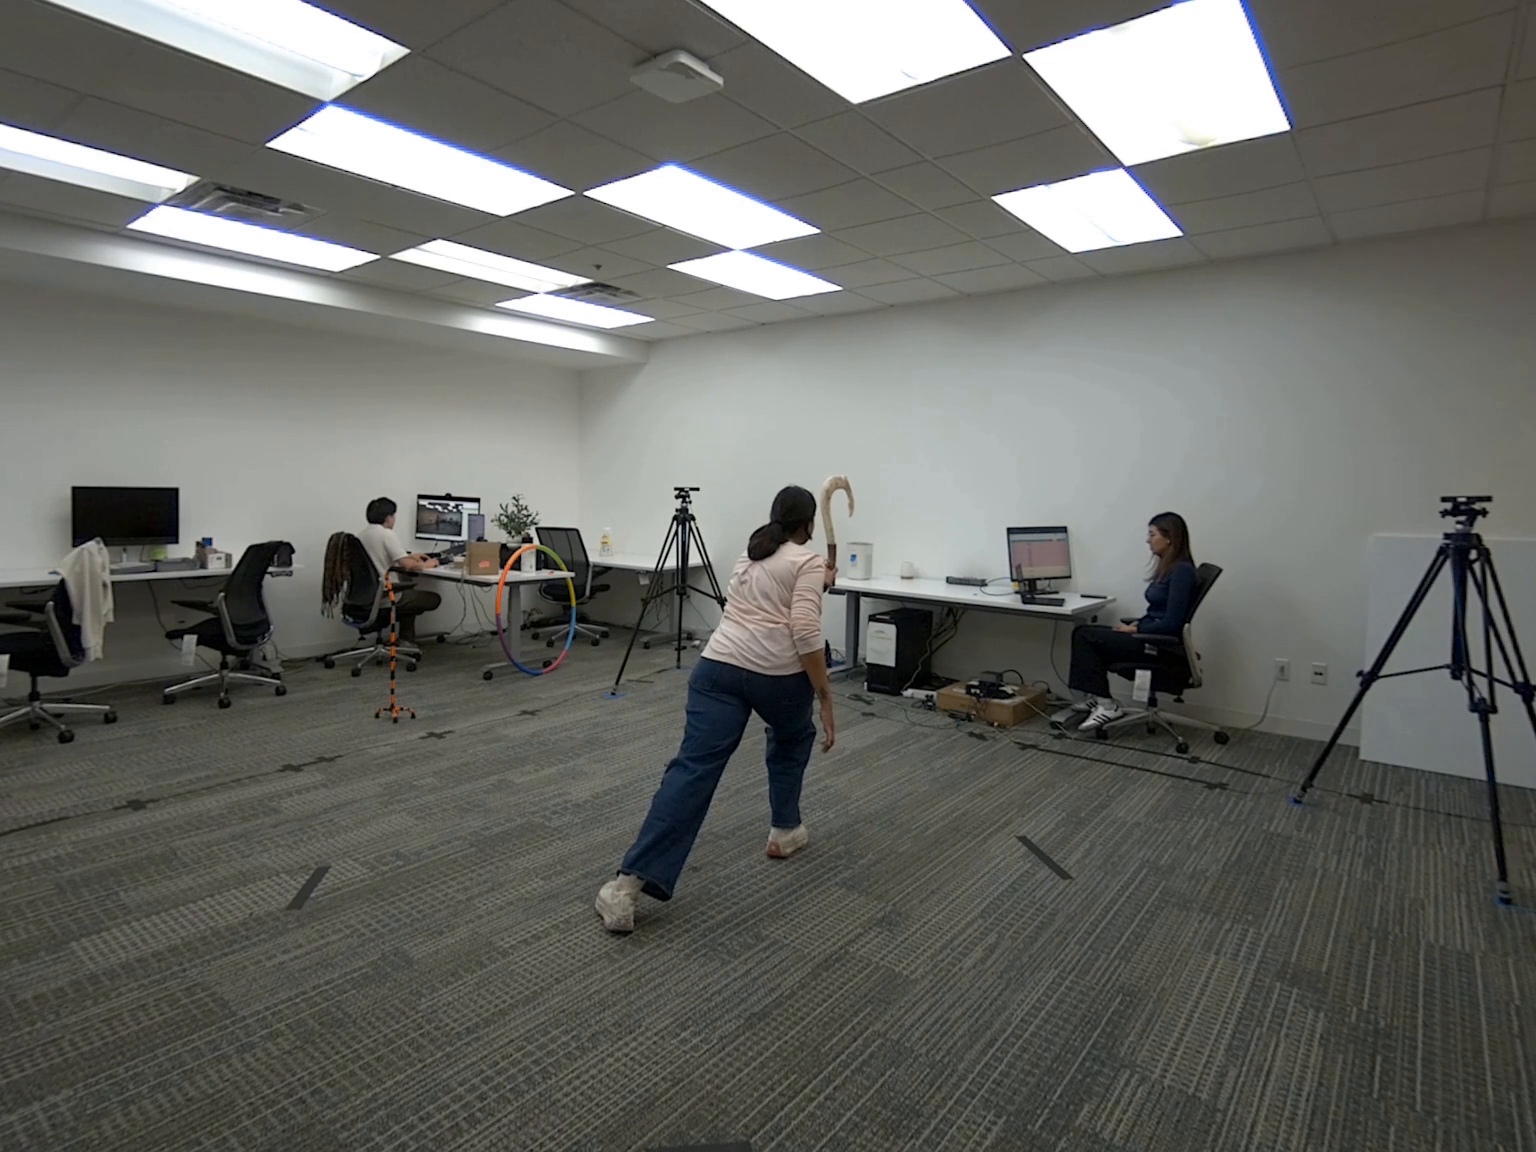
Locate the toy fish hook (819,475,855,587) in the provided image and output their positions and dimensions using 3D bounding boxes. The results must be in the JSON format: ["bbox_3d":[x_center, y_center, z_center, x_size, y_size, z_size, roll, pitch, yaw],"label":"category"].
[{"bbox_3d":[0.310,-0.207,3.889,0.218,0.505,0.050,-3,5,-38],"label":"toy fish hook"}]
